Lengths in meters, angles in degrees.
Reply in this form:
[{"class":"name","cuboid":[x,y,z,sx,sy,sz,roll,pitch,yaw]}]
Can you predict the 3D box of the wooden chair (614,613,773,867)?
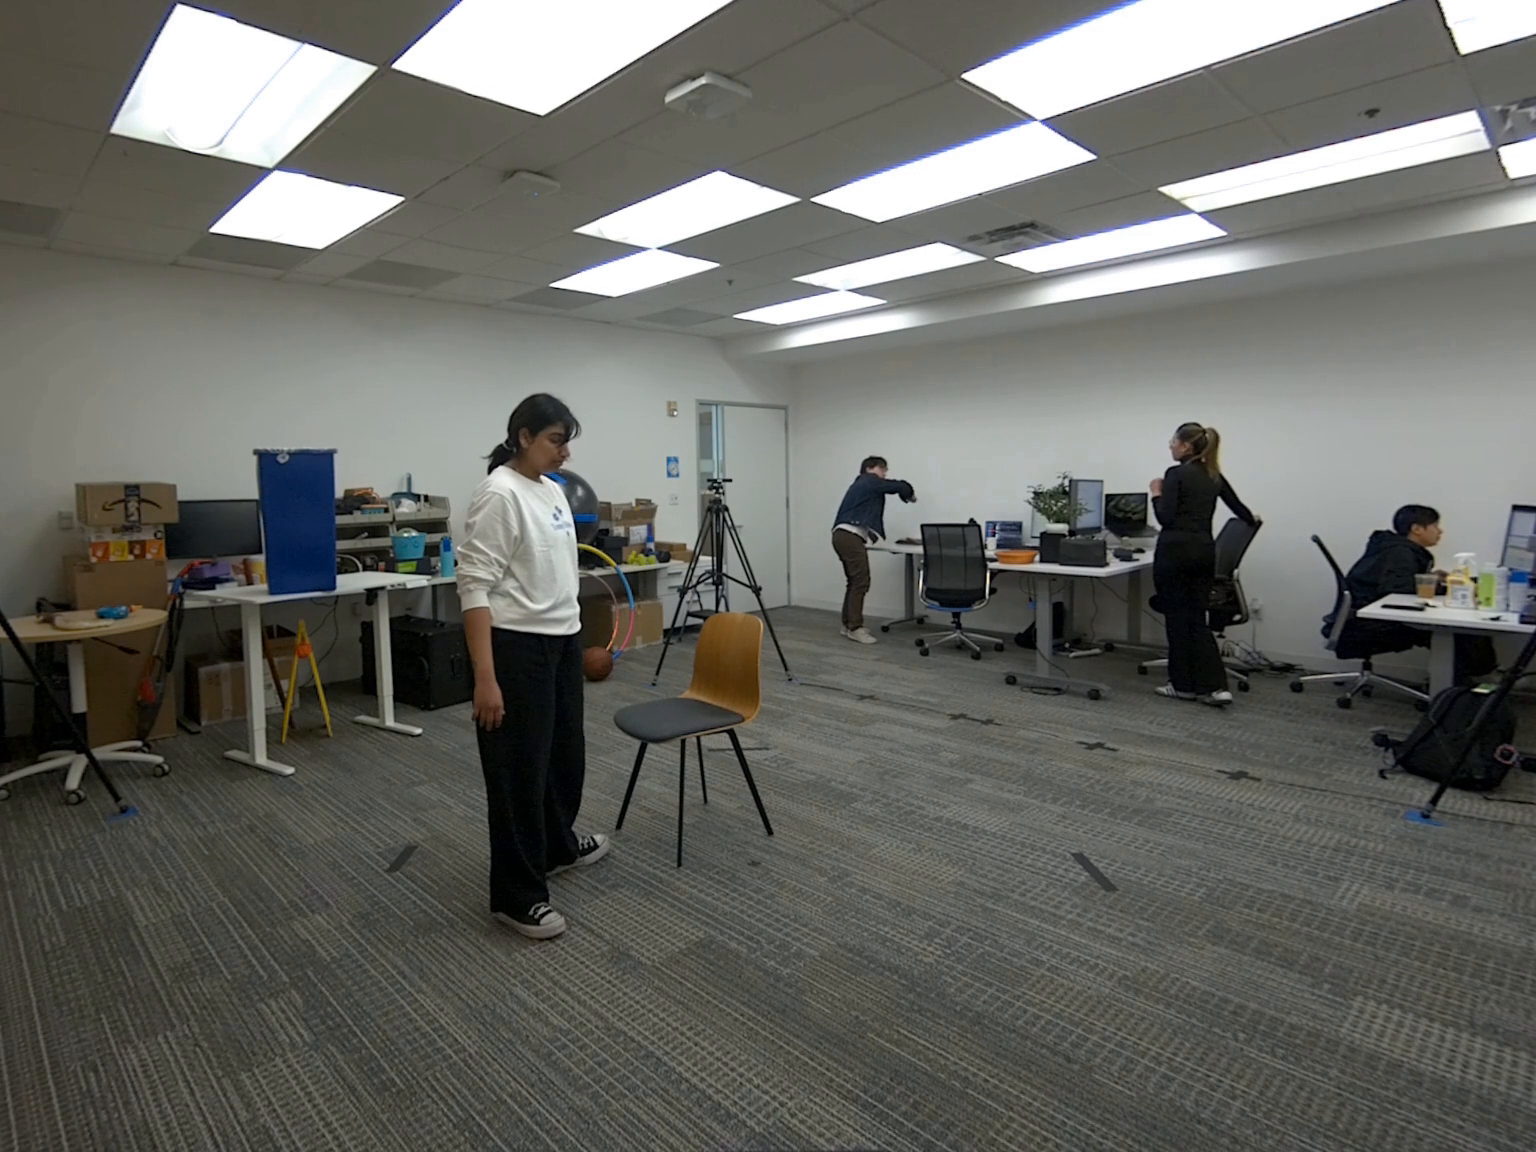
[{"class":"wooden chair","cuboid":[-0.305,0.591,3.360,0.508,0.876,0.492,2,2,-39]}]
